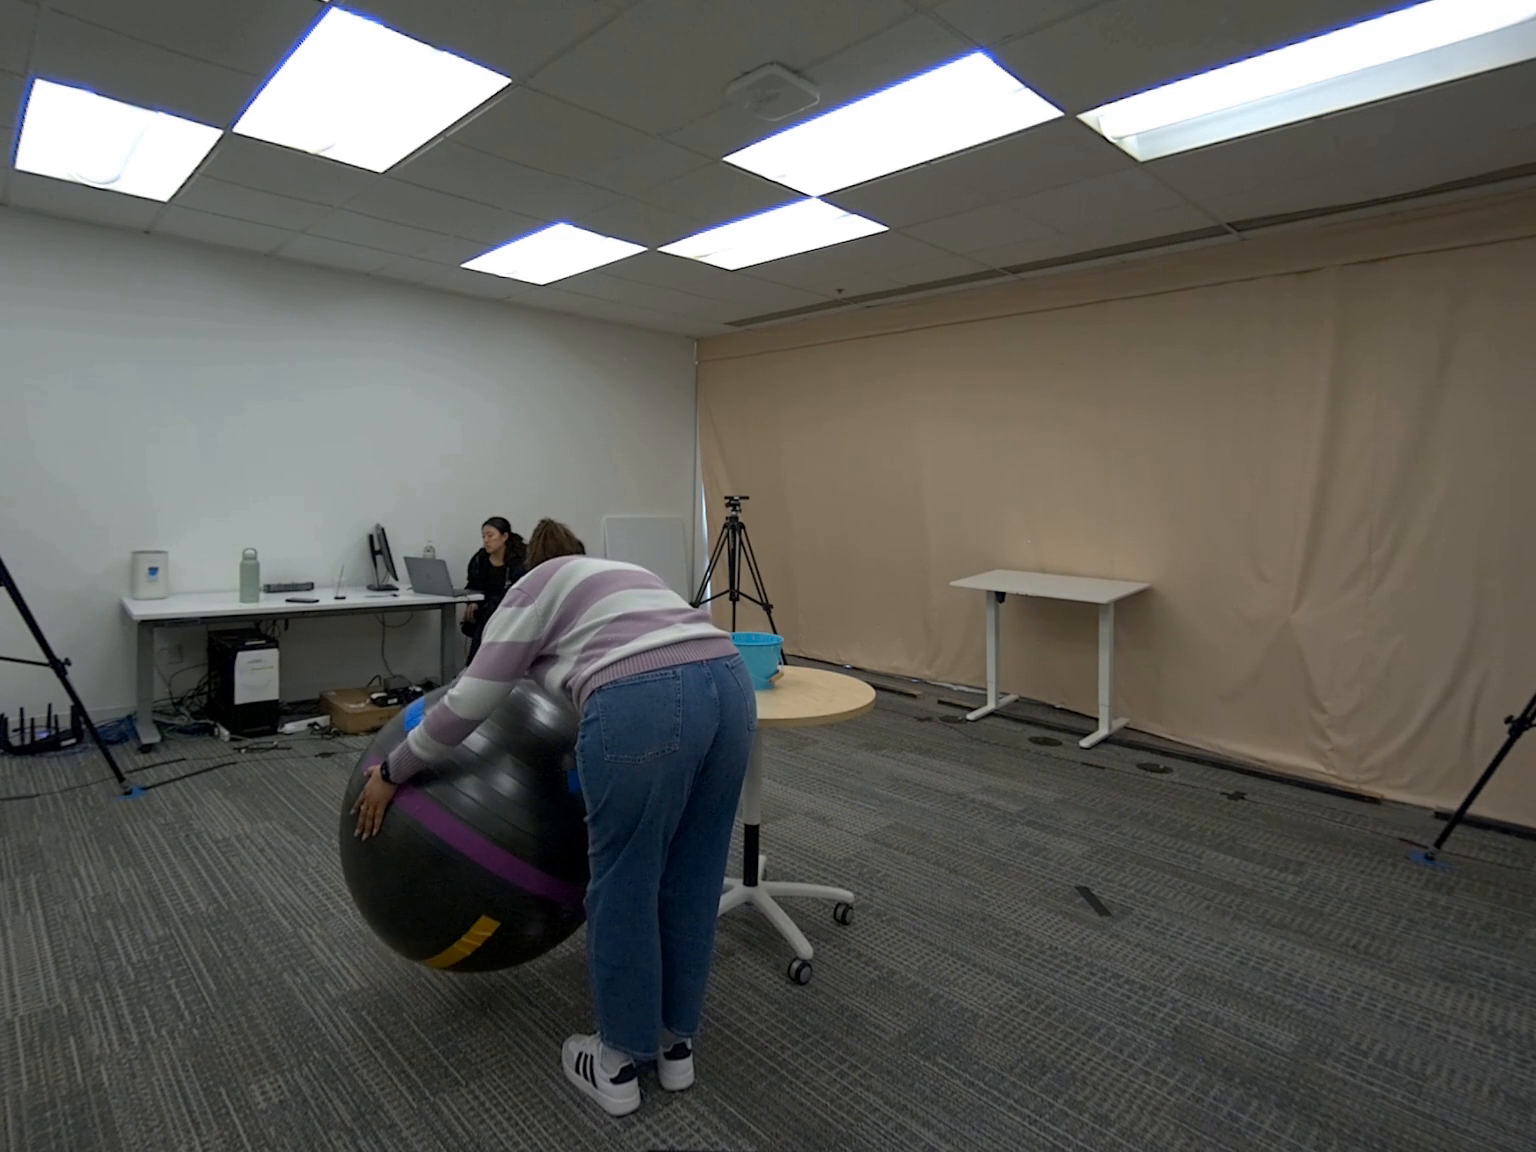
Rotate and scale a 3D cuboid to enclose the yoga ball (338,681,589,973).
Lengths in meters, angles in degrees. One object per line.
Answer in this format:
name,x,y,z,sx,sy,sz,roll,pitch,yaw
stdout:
yoga ball,-0.779,0.664,2.293,0.757,0.756,0.761,1,4,-1
